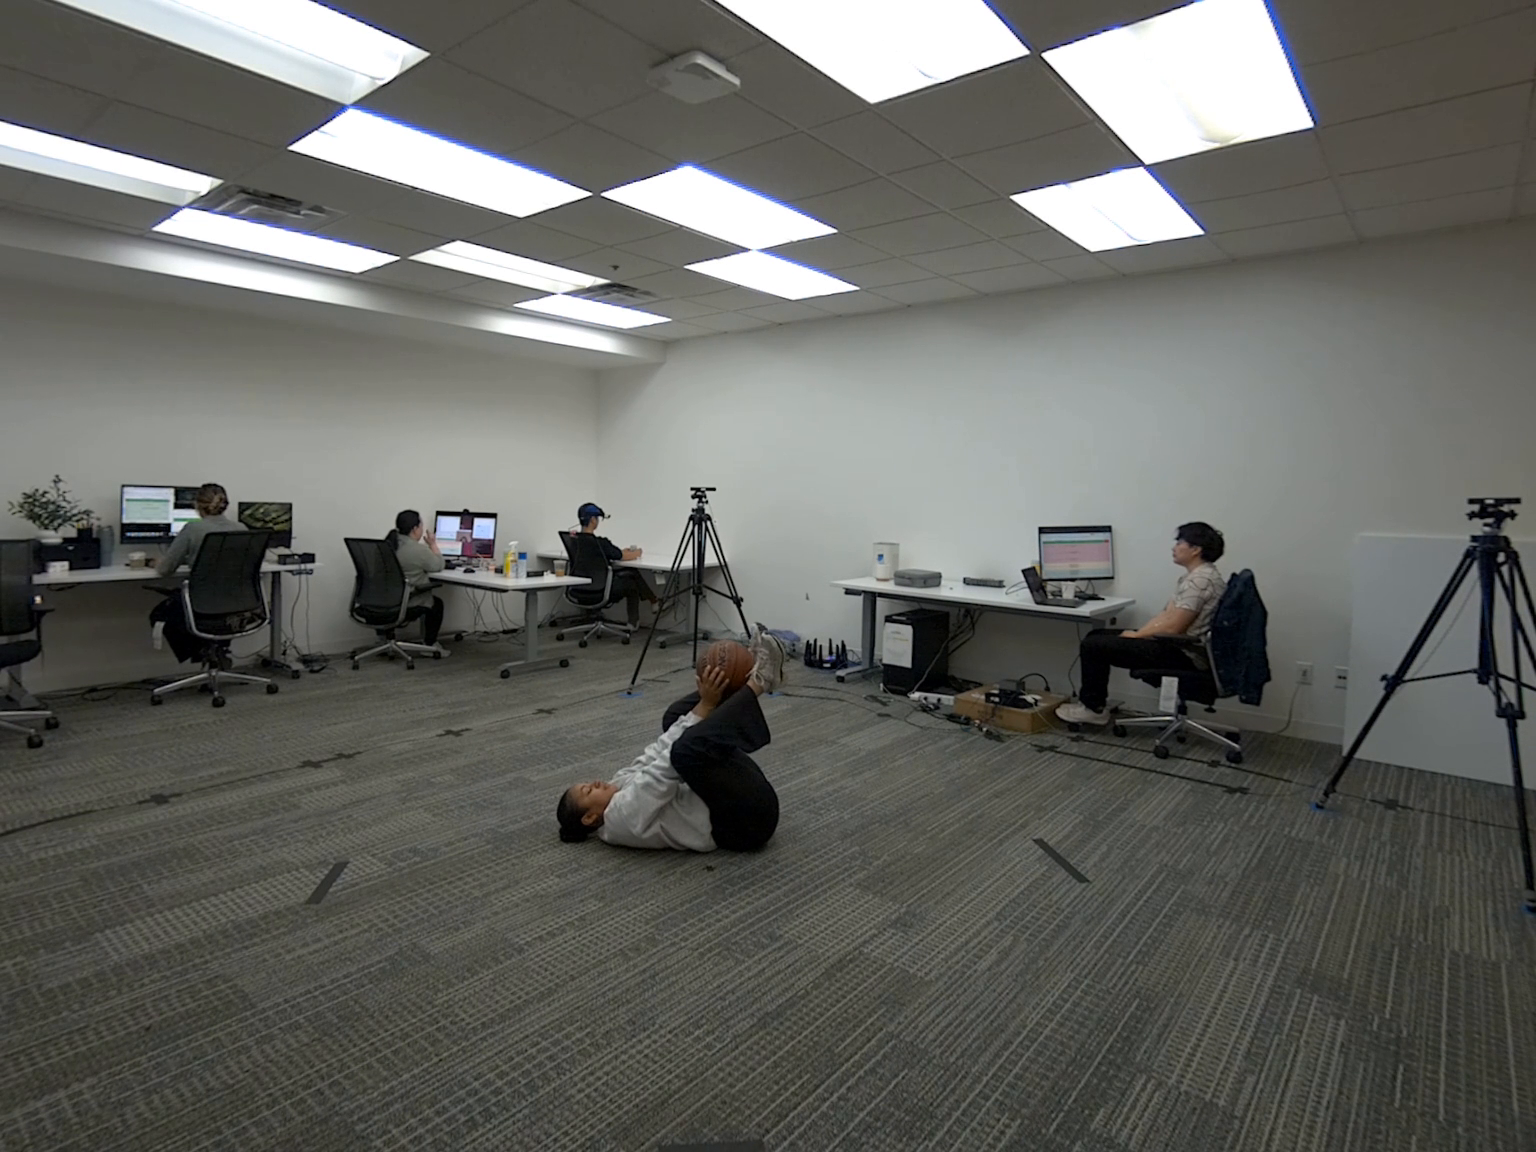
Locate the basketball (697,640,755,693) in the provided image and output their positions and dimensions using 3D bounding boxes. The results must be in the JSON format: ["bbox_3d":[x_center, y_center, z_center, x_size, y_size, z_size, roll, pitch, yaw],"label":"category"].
[{"bbox_3d":[-0.168,0.372,3.392,0.235,0.235,0.237,1,4,-2],"label":"basketball"}]
